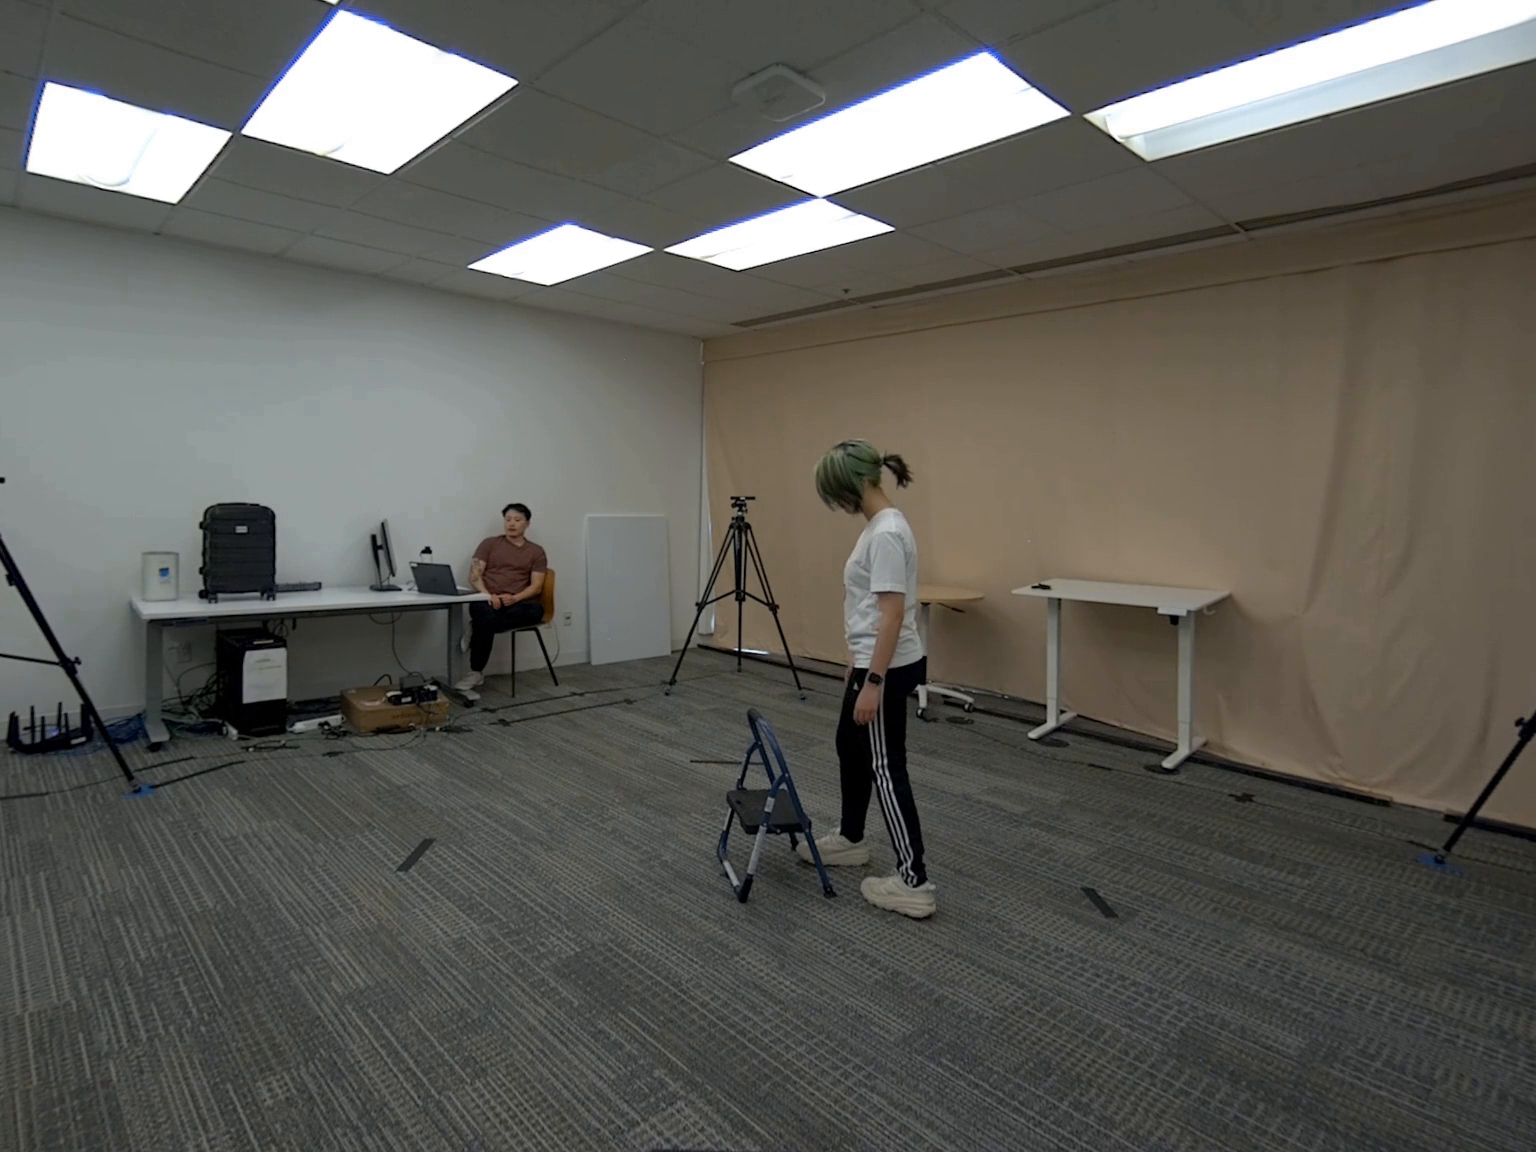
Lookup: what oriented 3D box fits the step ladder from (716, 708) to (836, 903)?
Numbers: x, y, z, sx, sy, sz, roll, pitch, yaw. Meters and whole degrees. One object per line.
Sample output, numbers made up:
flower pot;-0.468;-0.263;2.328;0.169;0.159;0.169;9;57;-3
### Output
step ladder;0.018;0.808;3.108;0.345;0.605;0.436;1;3;-14
